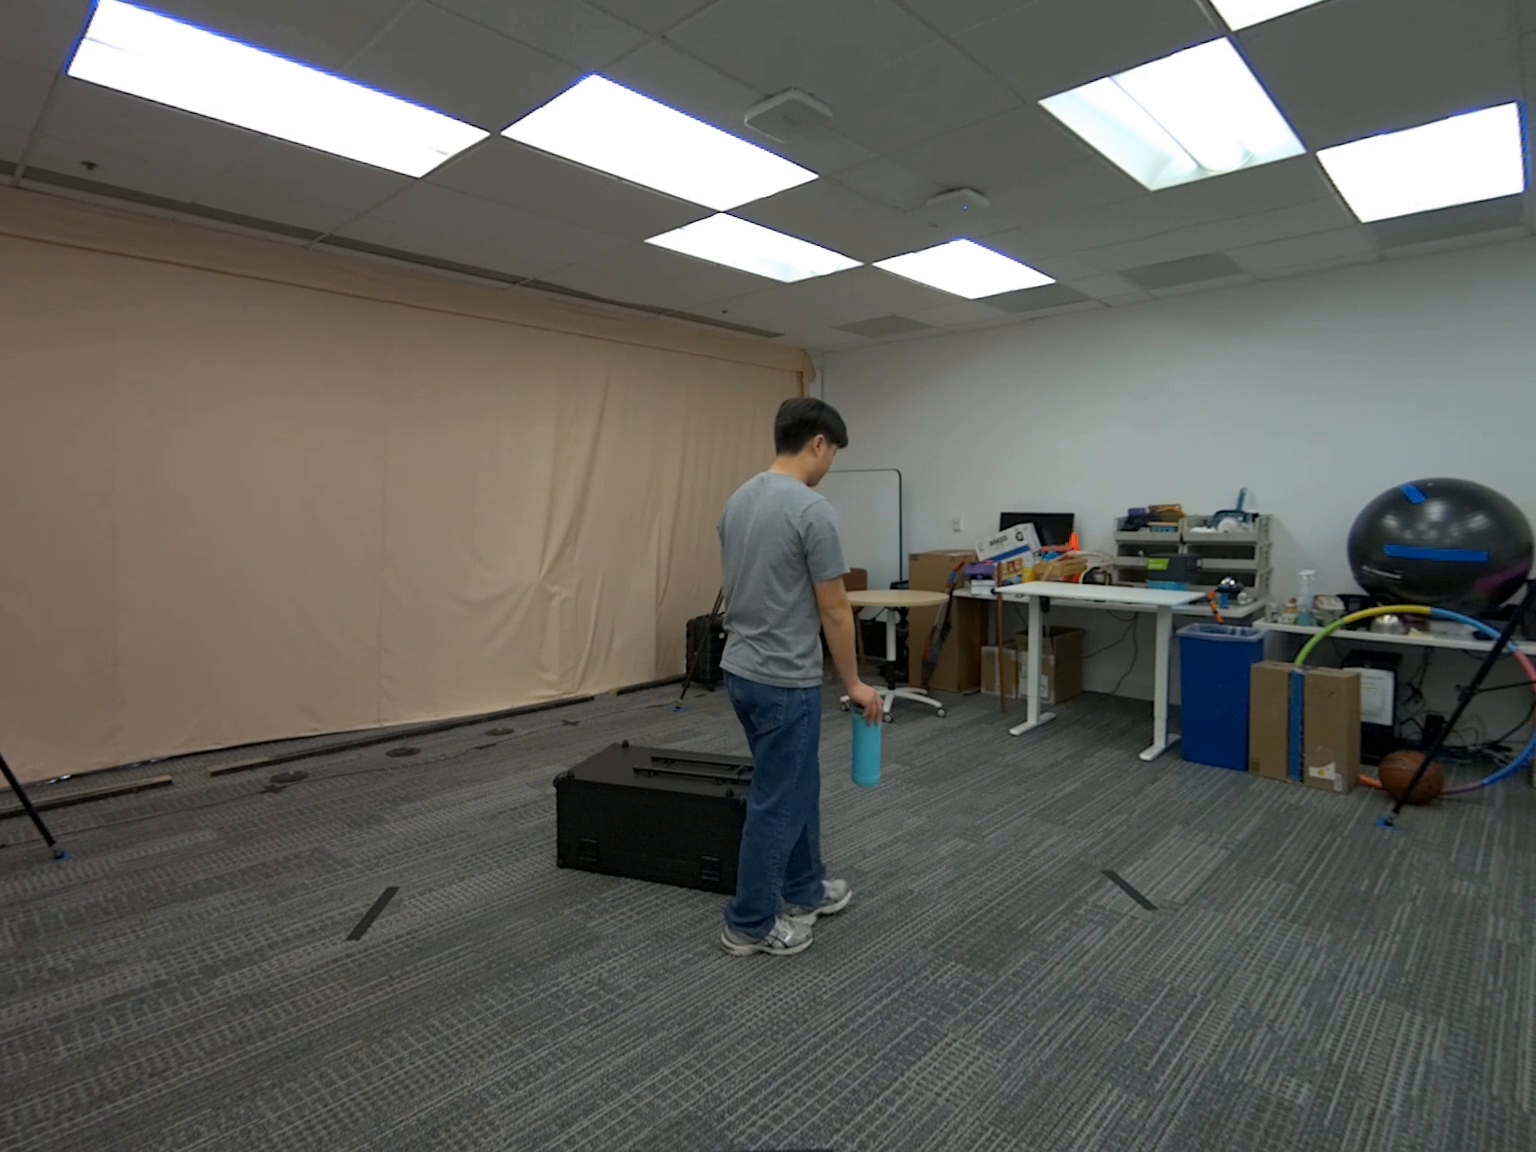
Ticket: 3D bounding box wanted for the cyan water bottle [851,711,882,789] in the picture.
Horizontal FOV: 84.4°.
[{"bbox_3d":[0.319,0.512,2.630,0.092,0.283,0.092,1,4,-2],"label":"cyan water bottle"}]
